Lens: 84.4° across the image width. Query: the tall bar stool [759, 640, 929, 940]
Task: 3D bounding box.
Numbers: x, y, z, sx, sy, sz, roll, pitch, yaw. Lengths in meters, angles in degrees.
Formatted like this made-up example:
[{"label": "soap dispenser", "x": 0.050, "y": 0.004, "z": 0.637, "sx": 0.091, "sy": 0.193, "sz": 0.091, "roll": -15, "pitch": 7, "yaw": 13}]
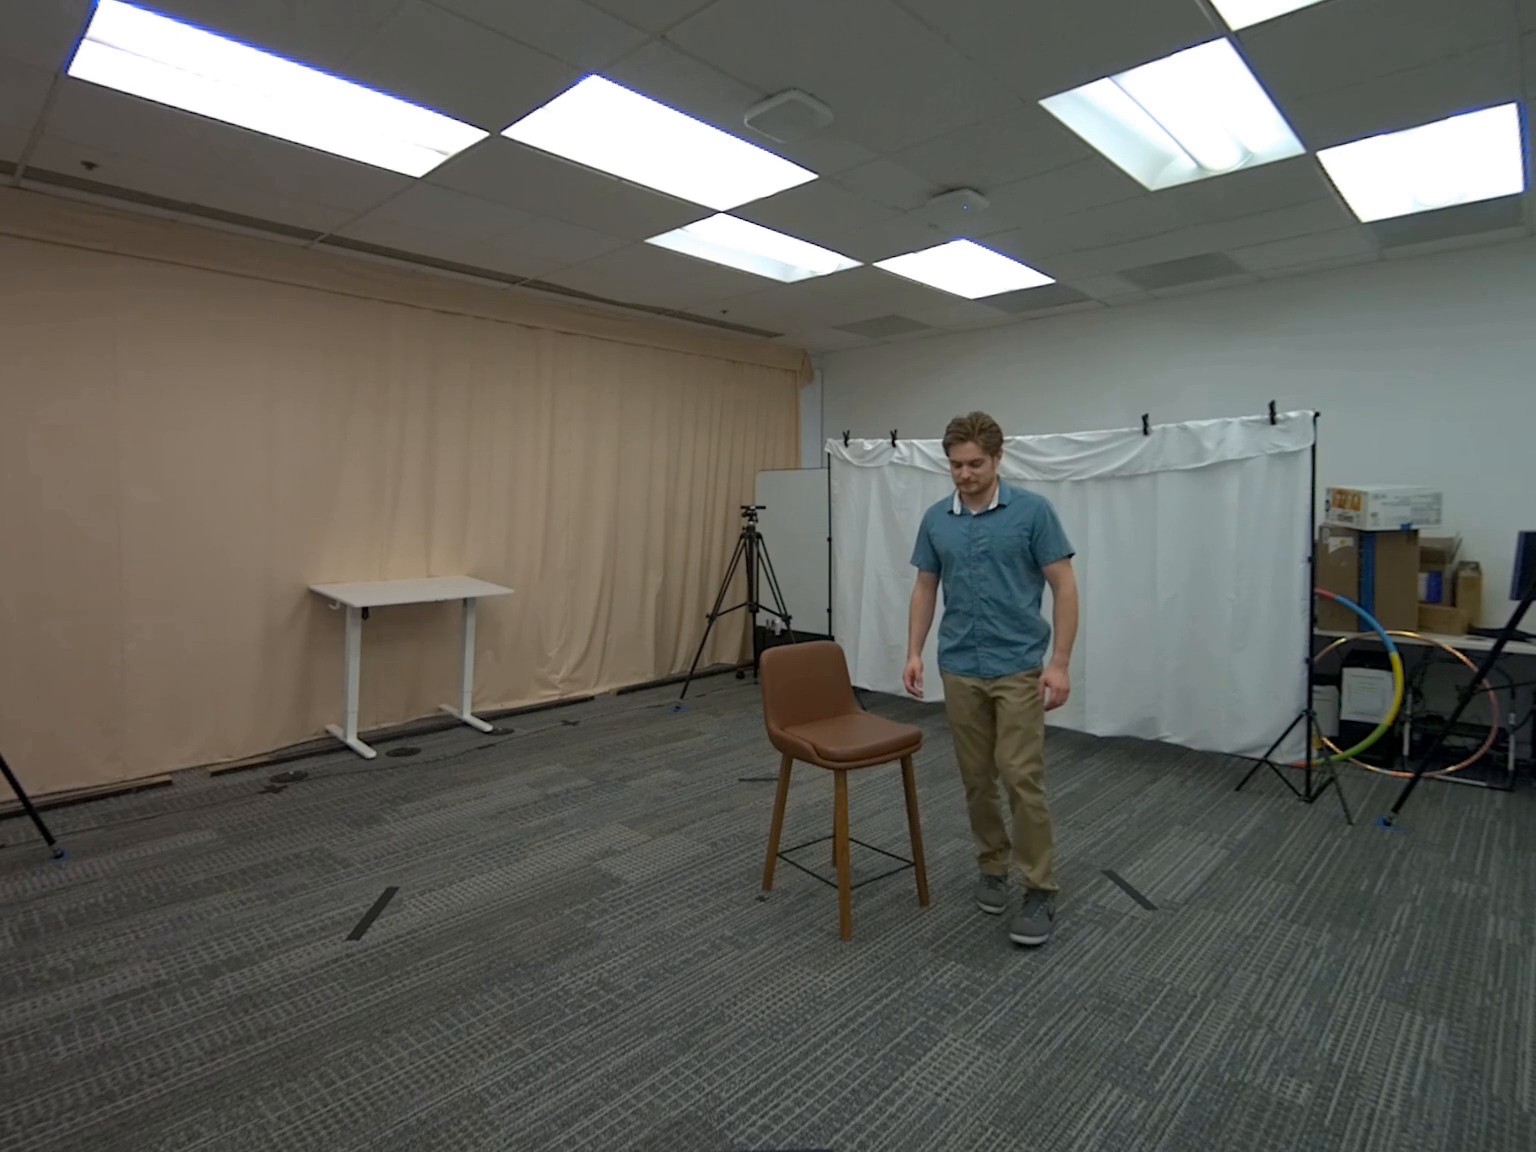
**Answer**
[{"label": "tall bar stool", "x": 0.263, "y": 0.710, "z": 2.970, "sx": 0.443, "sy": 0.889, "sz": 0.482, "roll": -3, "pitch": 2, "yaw": -38}]
